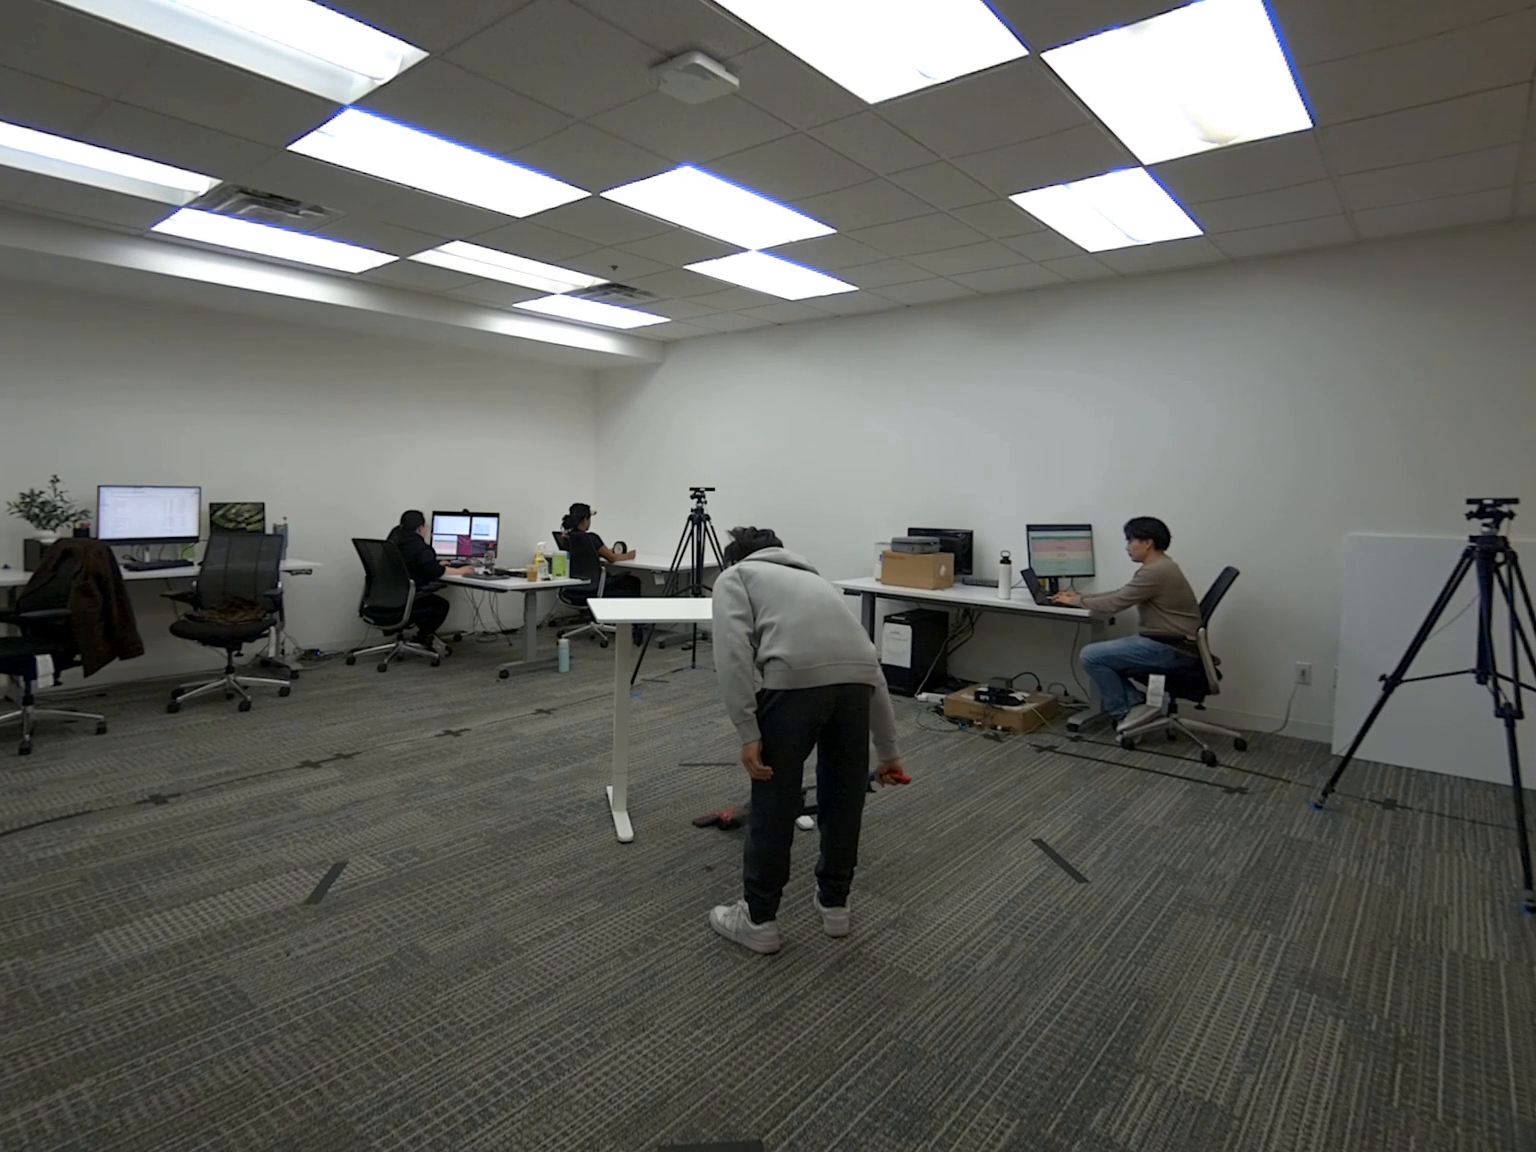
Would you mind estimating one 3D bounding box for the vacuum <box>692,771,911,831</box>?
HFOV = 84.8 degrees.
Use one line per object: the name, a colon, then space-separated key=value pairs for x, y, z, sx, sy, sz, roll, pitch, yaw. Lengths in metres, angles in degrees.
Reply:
vacuum: x=0.107 y=0.828 z=3.145 sx=0.247 sy=0.145 sz=1.062 roll=-15 pitch=-8 yaw=-38
